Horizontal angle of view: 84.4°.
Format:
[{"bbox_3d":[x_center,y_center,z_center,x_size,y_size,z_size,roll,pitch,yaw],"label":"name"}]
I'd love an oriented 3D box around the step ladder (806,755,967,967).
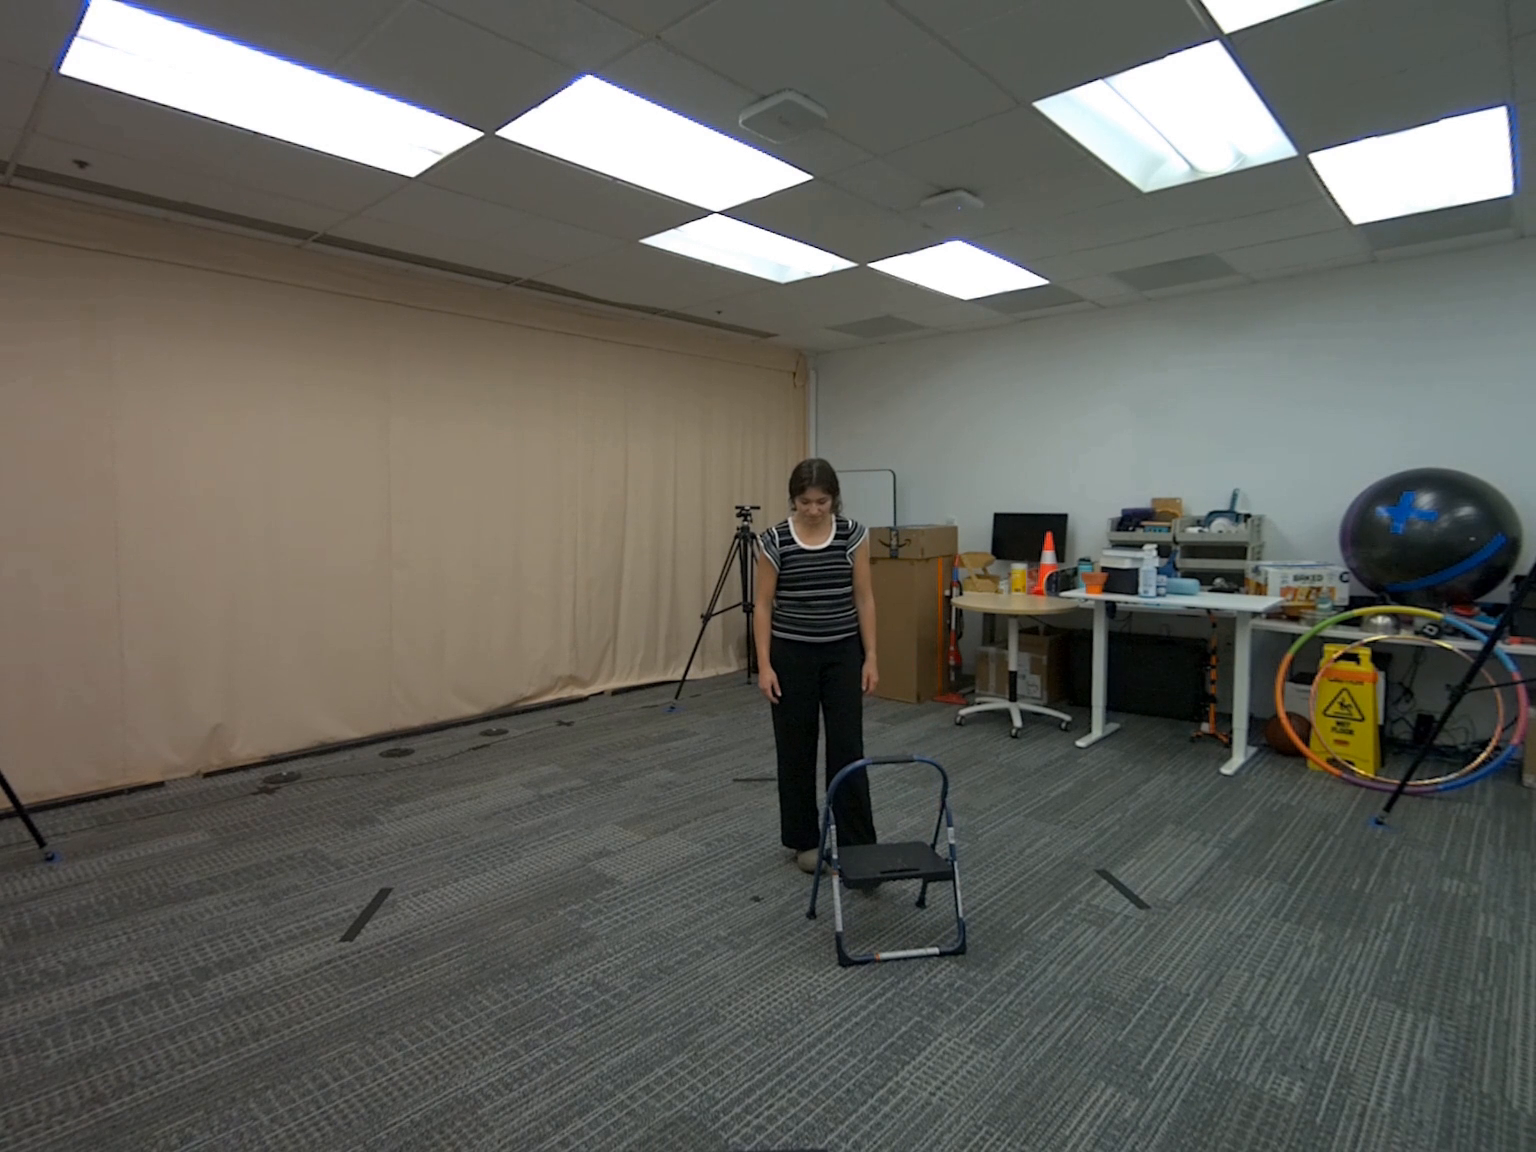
[{"bbox_3d":[0.384,0.864,2.724,0.425,0.605,0.354,-1,3,-12],"label":"step ladder"}]
